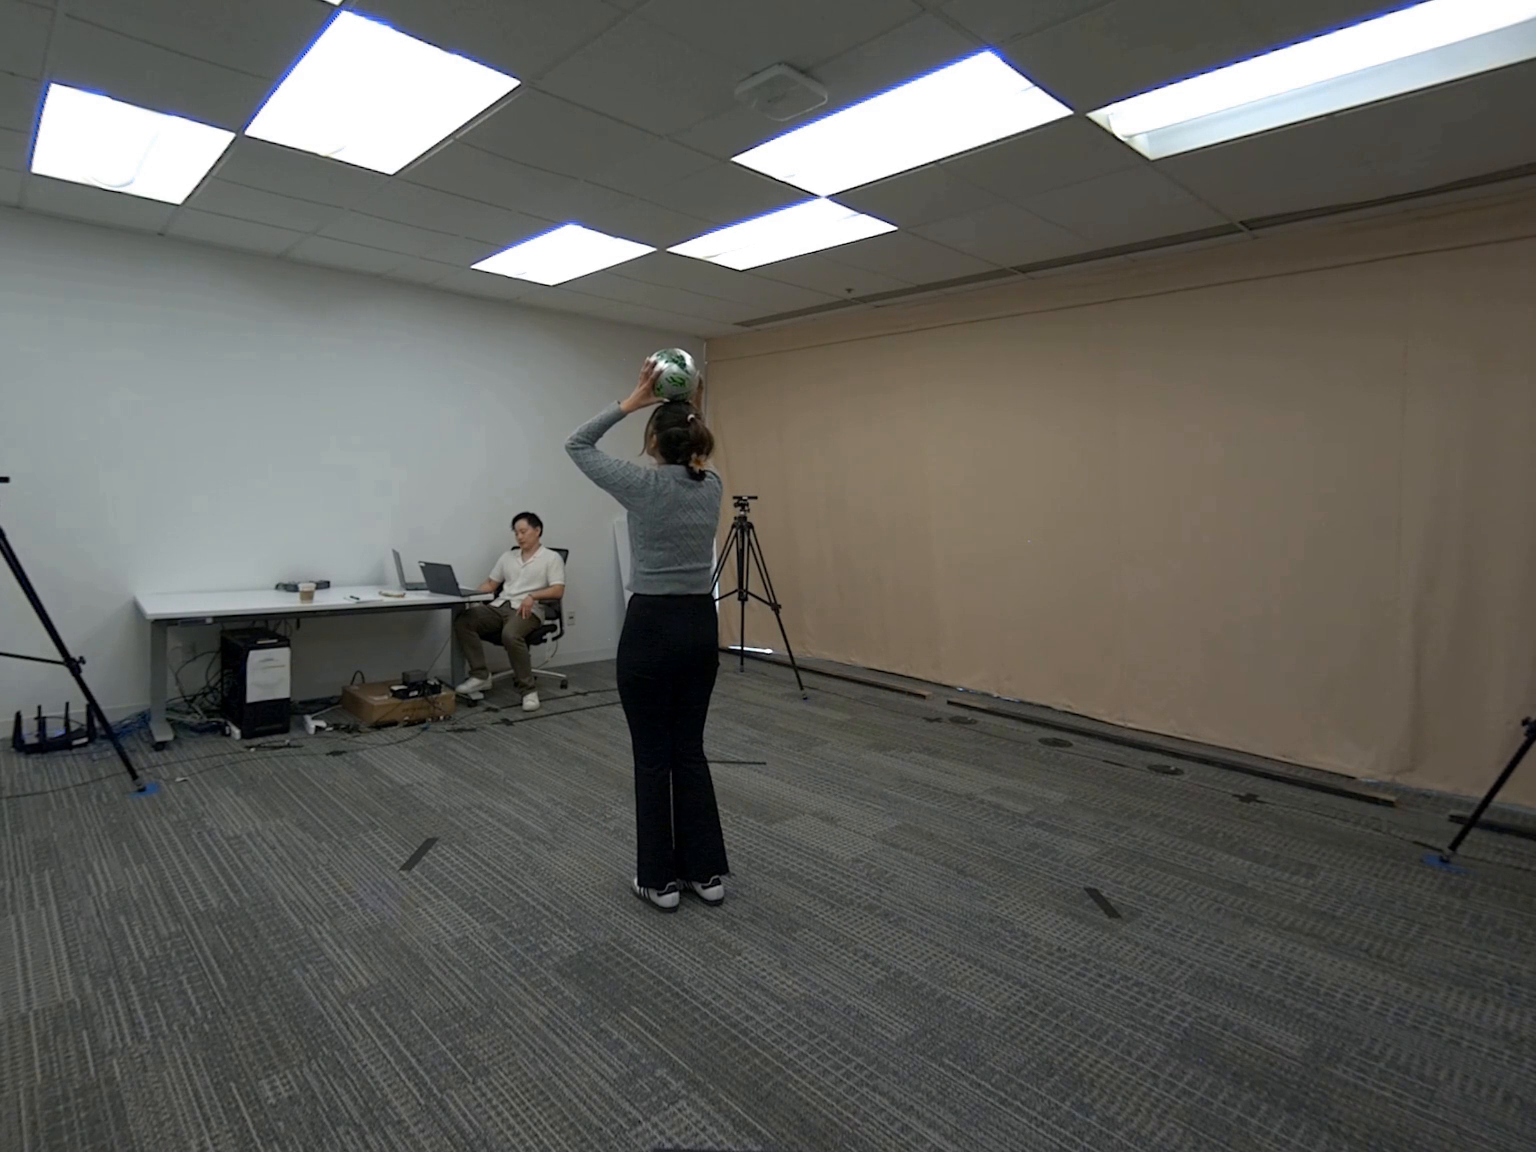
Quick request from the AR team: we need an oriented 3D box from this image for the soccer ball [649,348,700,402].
[{"bbox_3d":[-0.341,-0.677,2.855,0.187,0.187,0.188,1,4,-1],"label":"soccer ball"}]
